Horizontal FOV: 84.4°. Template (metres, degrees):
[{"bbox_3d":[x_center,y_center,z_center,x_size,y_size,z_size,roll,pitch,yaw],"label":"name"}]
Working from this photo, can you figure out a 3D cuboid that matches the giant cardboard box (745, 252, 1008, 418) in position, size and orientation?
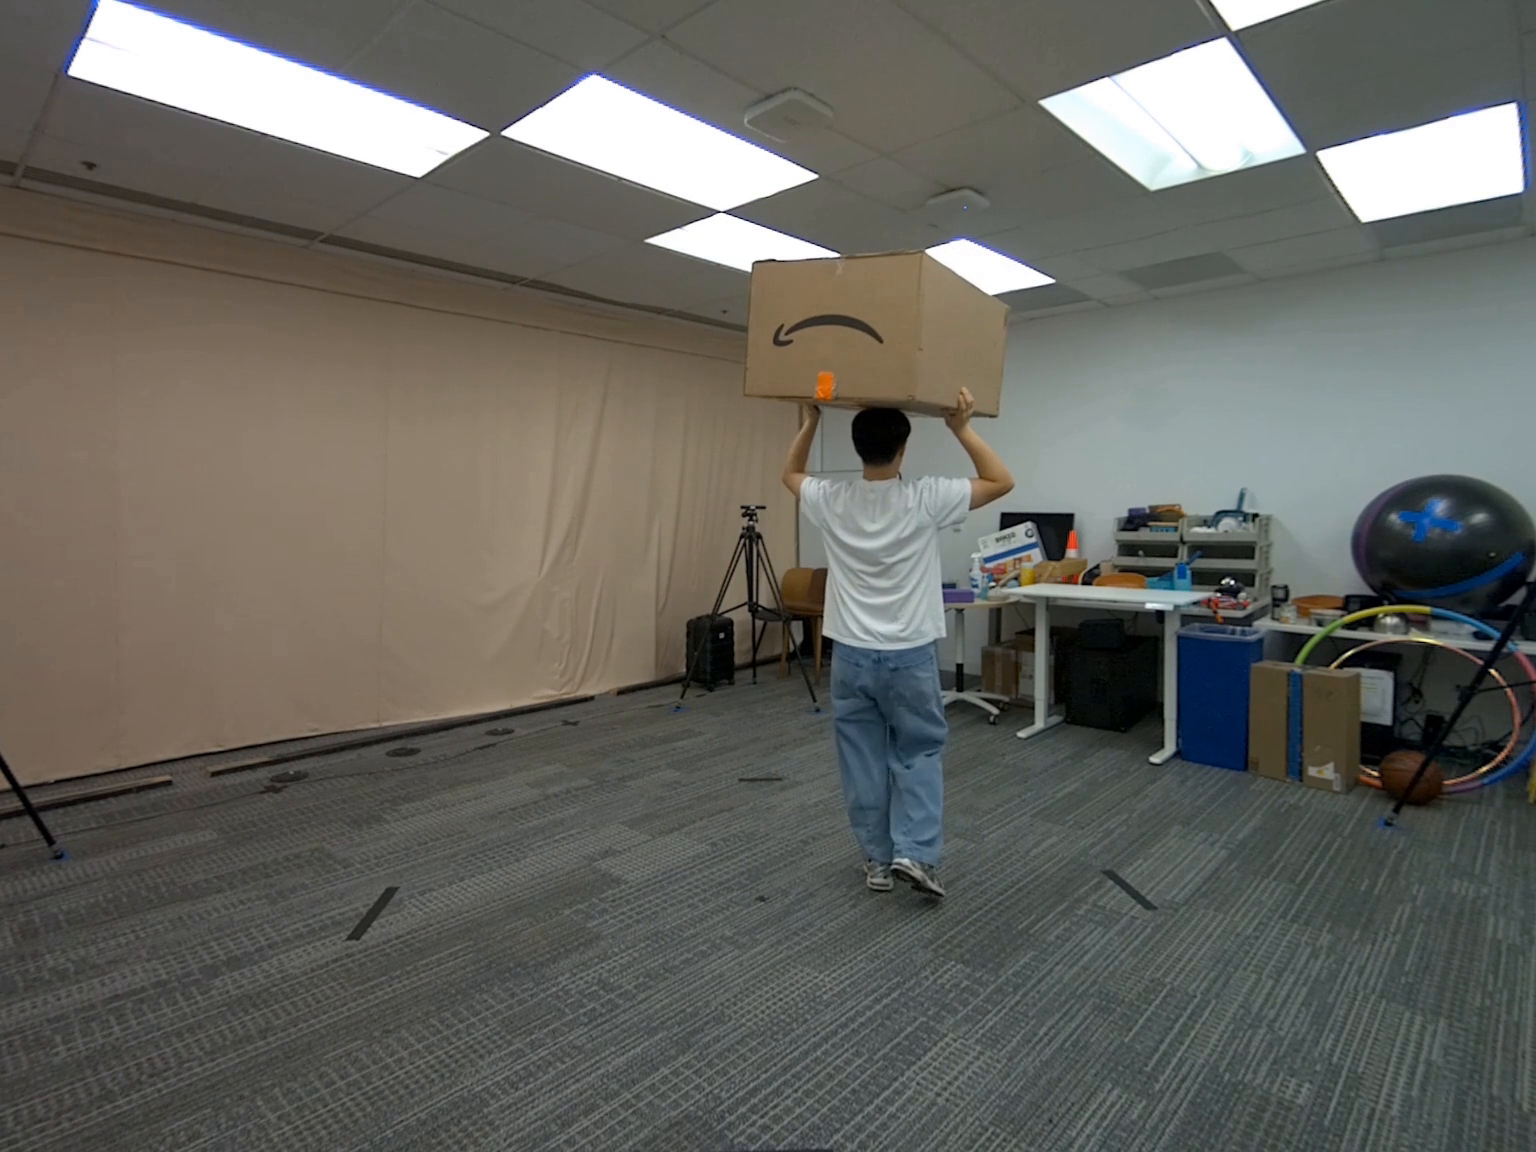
[{"bbox_3d":[0.428,-0.803,2.981,0.595,0.424,1.001,8,11,29],"label":"giant cardboard box"}]
